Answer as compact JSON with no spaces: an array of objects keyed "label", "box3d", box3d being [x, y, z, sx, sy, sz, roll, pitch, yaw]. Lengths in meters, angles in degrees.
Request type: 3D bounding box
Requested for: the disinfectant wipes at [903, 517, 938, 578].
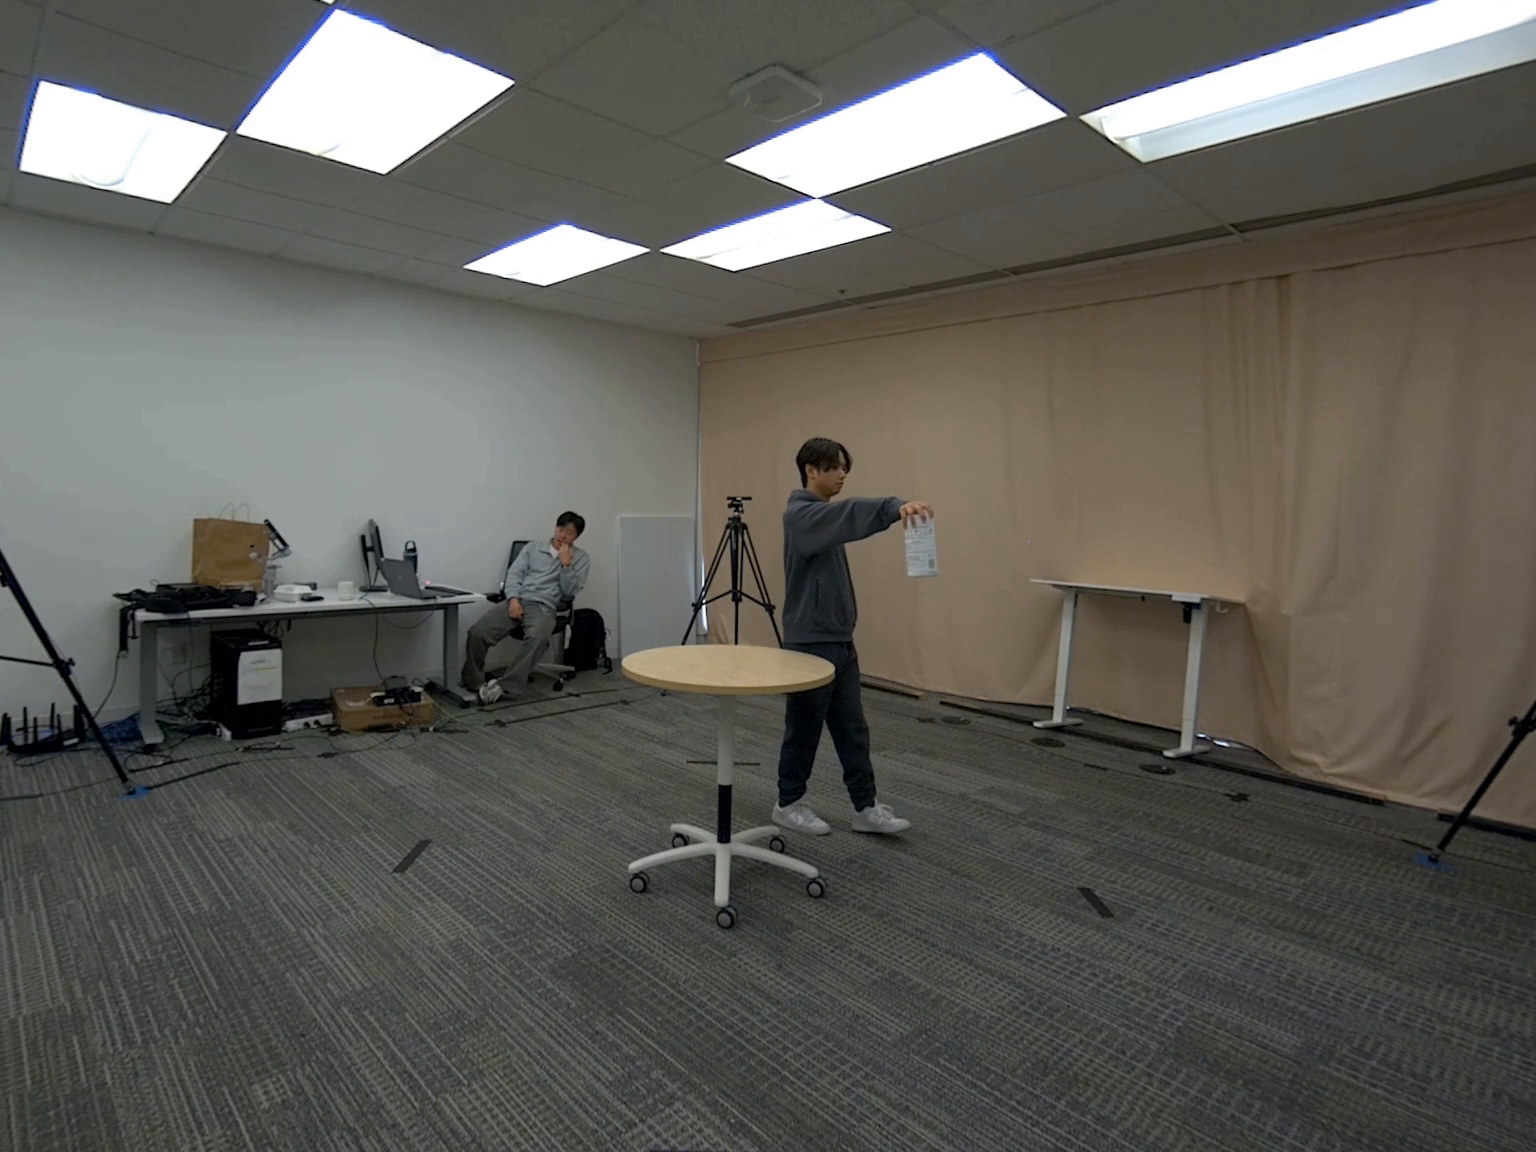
[{"label":"disinfectant wipes","box3d":[0.531,-0.106,2.922,0.118,0.217,0.118,-5,0,-1]}]
